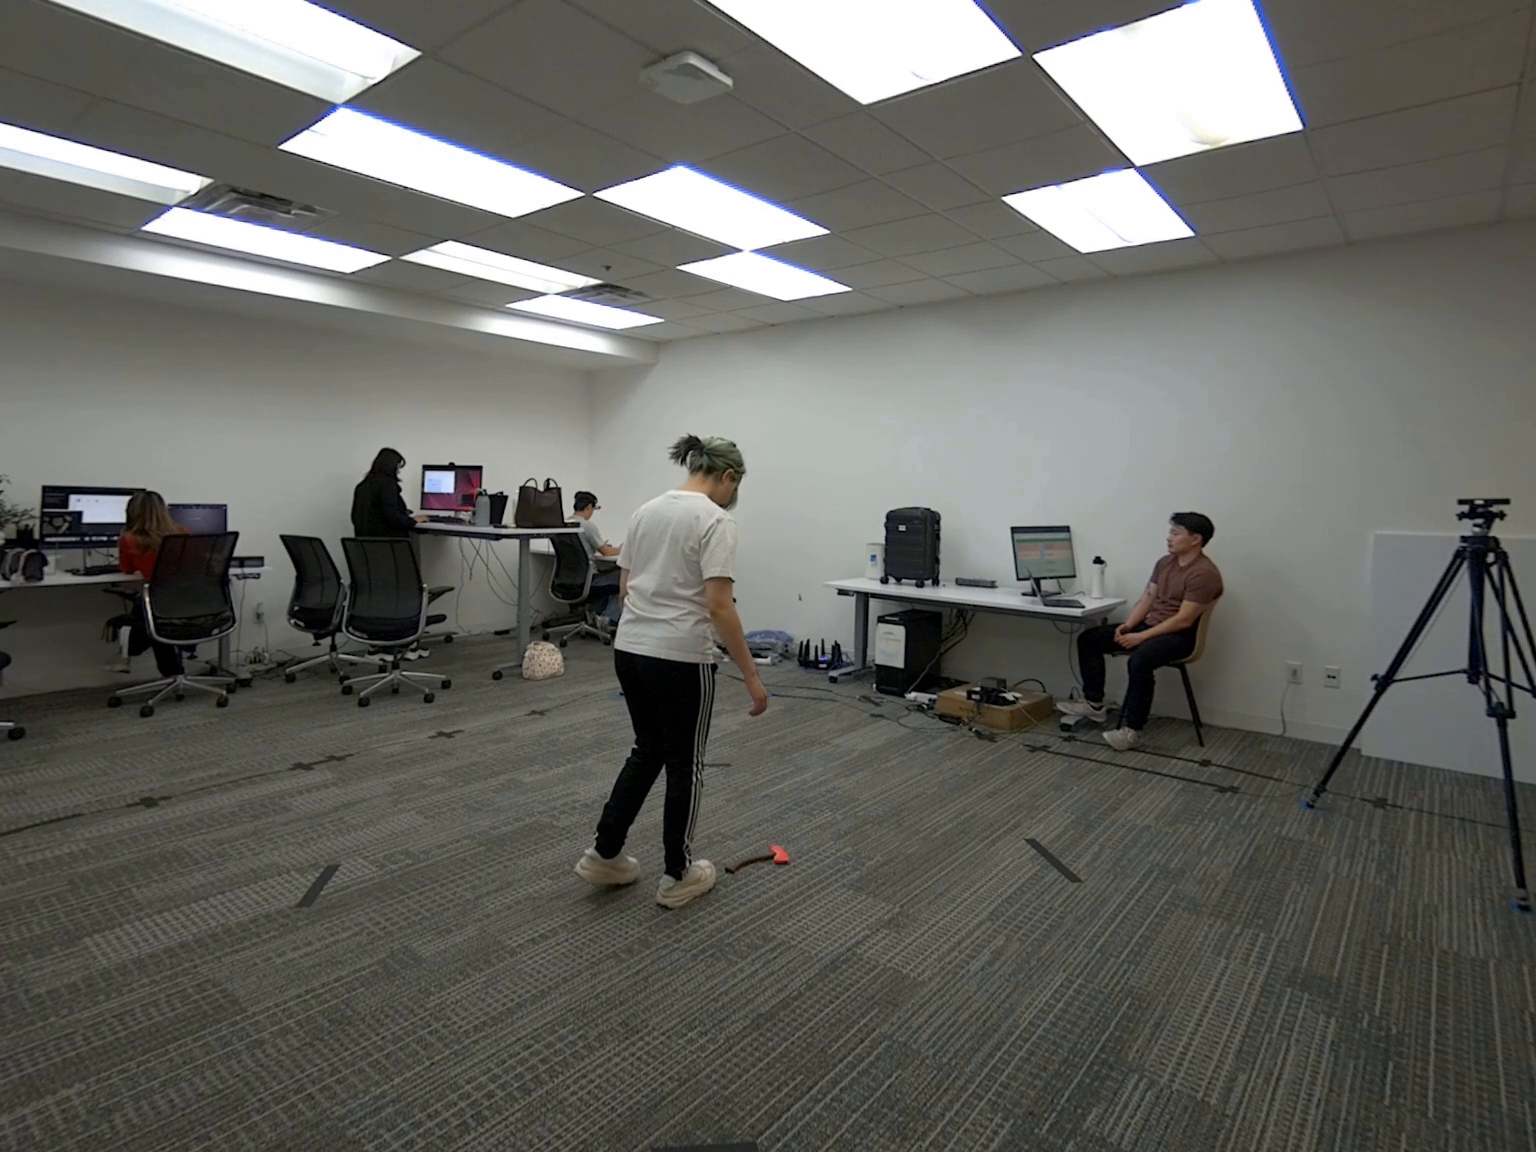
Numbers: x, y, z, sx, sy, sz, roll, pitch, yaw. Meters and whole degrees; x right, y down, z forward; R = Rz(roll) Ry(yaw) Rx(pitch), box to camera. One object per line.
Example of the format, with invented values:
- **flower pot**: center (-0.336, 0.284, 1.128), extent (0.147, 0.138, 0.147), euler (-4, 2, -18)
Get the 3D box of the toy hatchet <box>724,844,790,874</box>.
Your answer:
- **toy hatchet**: center (-0.031, 1.060, 3.149), extent (0.135, 0.029, 0.262), euler (8, 10, 41)
